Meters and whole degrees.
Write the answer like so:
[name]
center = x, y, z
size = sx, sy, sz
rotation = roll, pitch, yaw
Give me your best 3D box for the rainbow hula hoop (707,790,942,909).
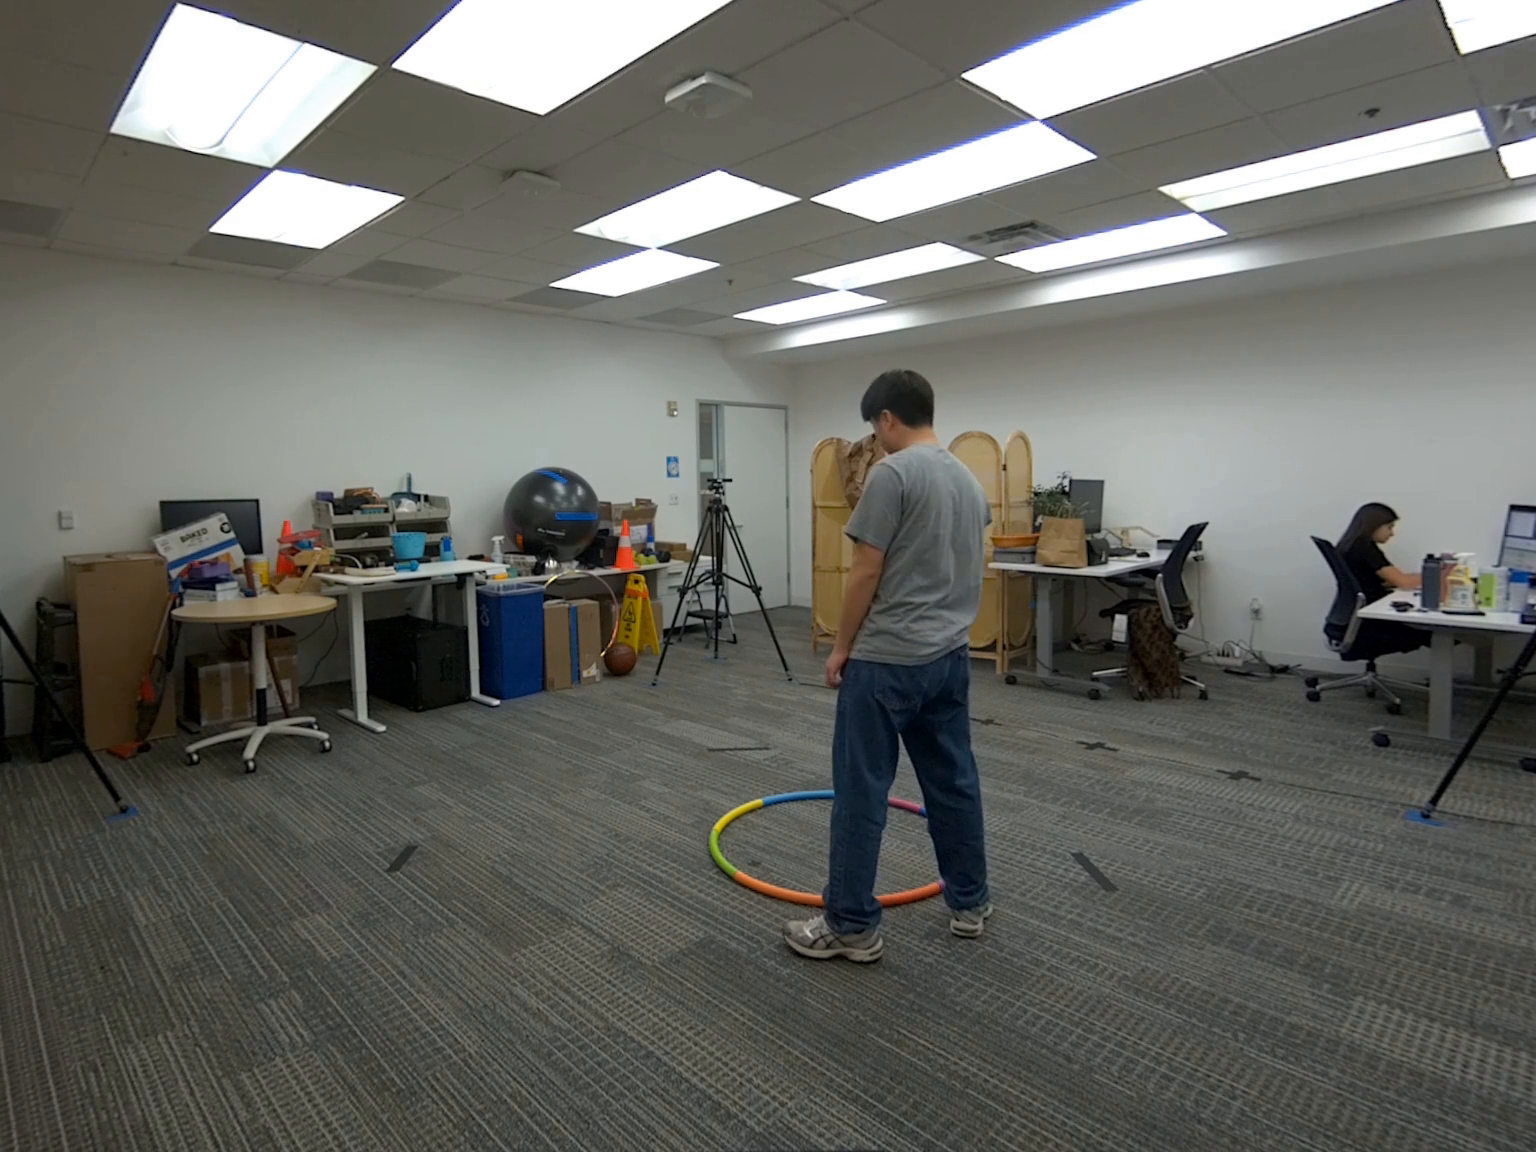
[rainbow hula hoop]
center = 0.260, 0.995, 3.247
size = 0.978, 0.035, 0.984
rotation = -1, 6, -2
